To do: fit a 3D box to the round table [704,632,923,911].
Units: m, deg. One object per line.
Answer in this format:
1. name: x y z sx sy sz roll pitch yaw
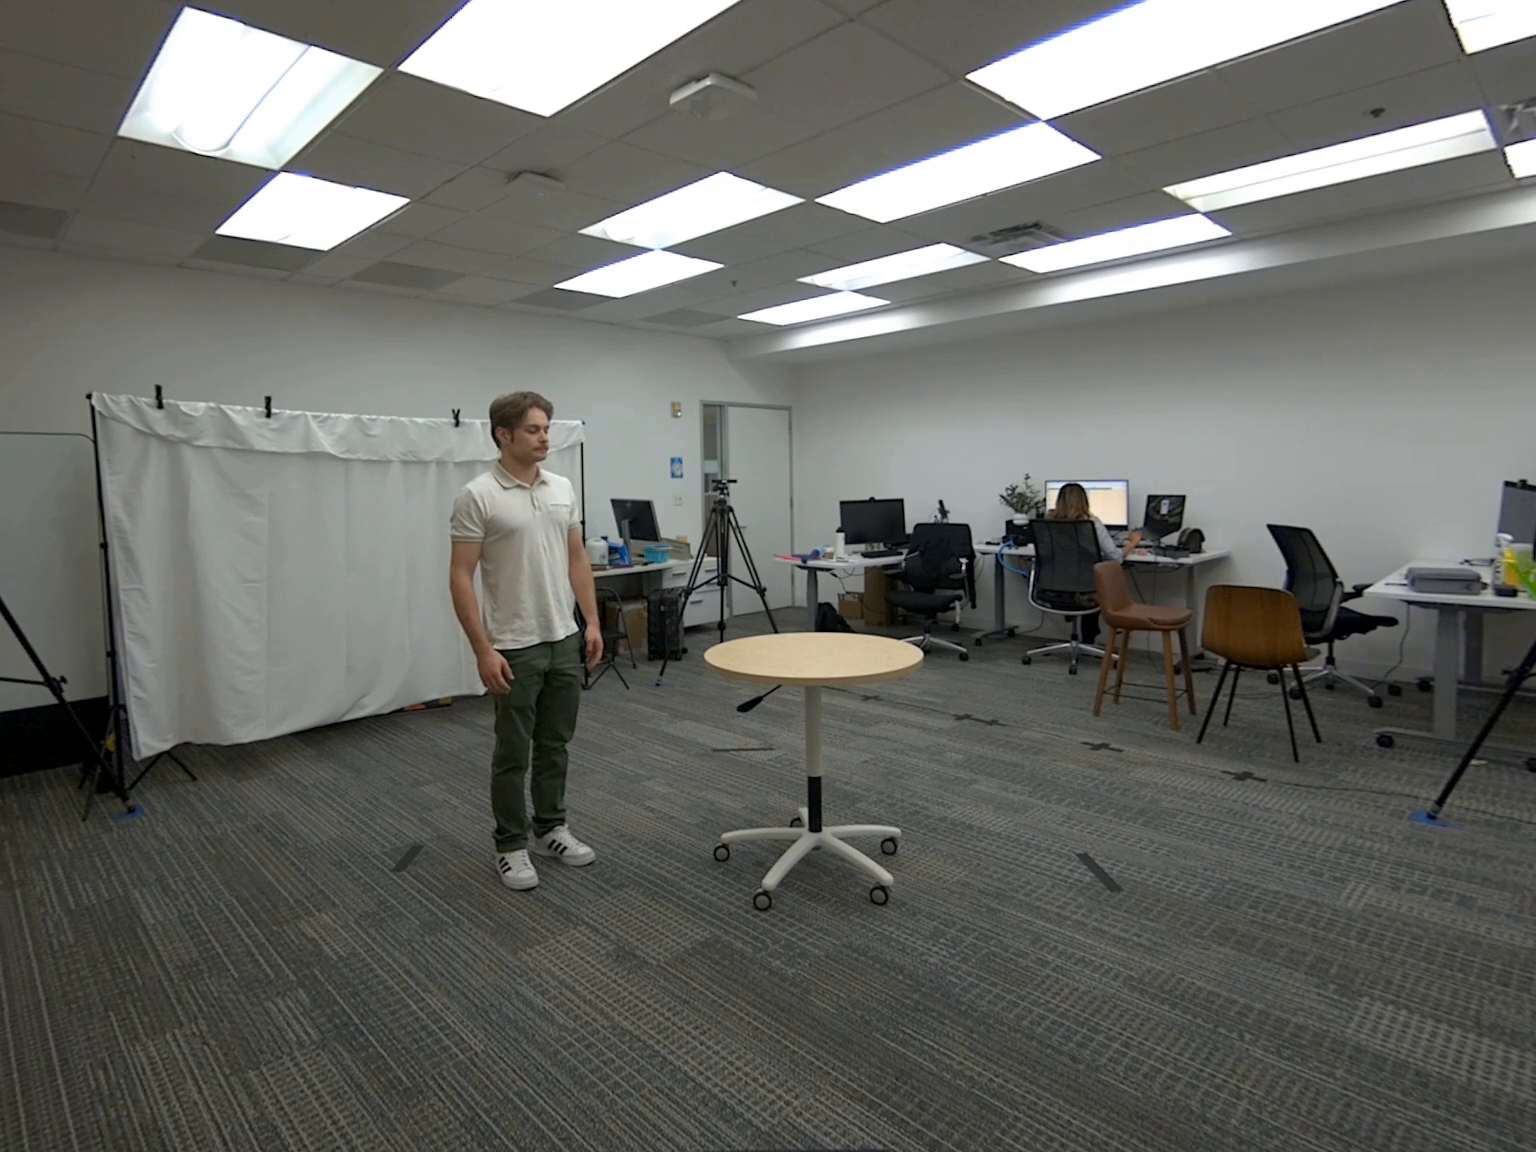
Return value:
1. round table: 0.161 0.661 3.043 0.763 0.791 0.768 -2 5 -2
